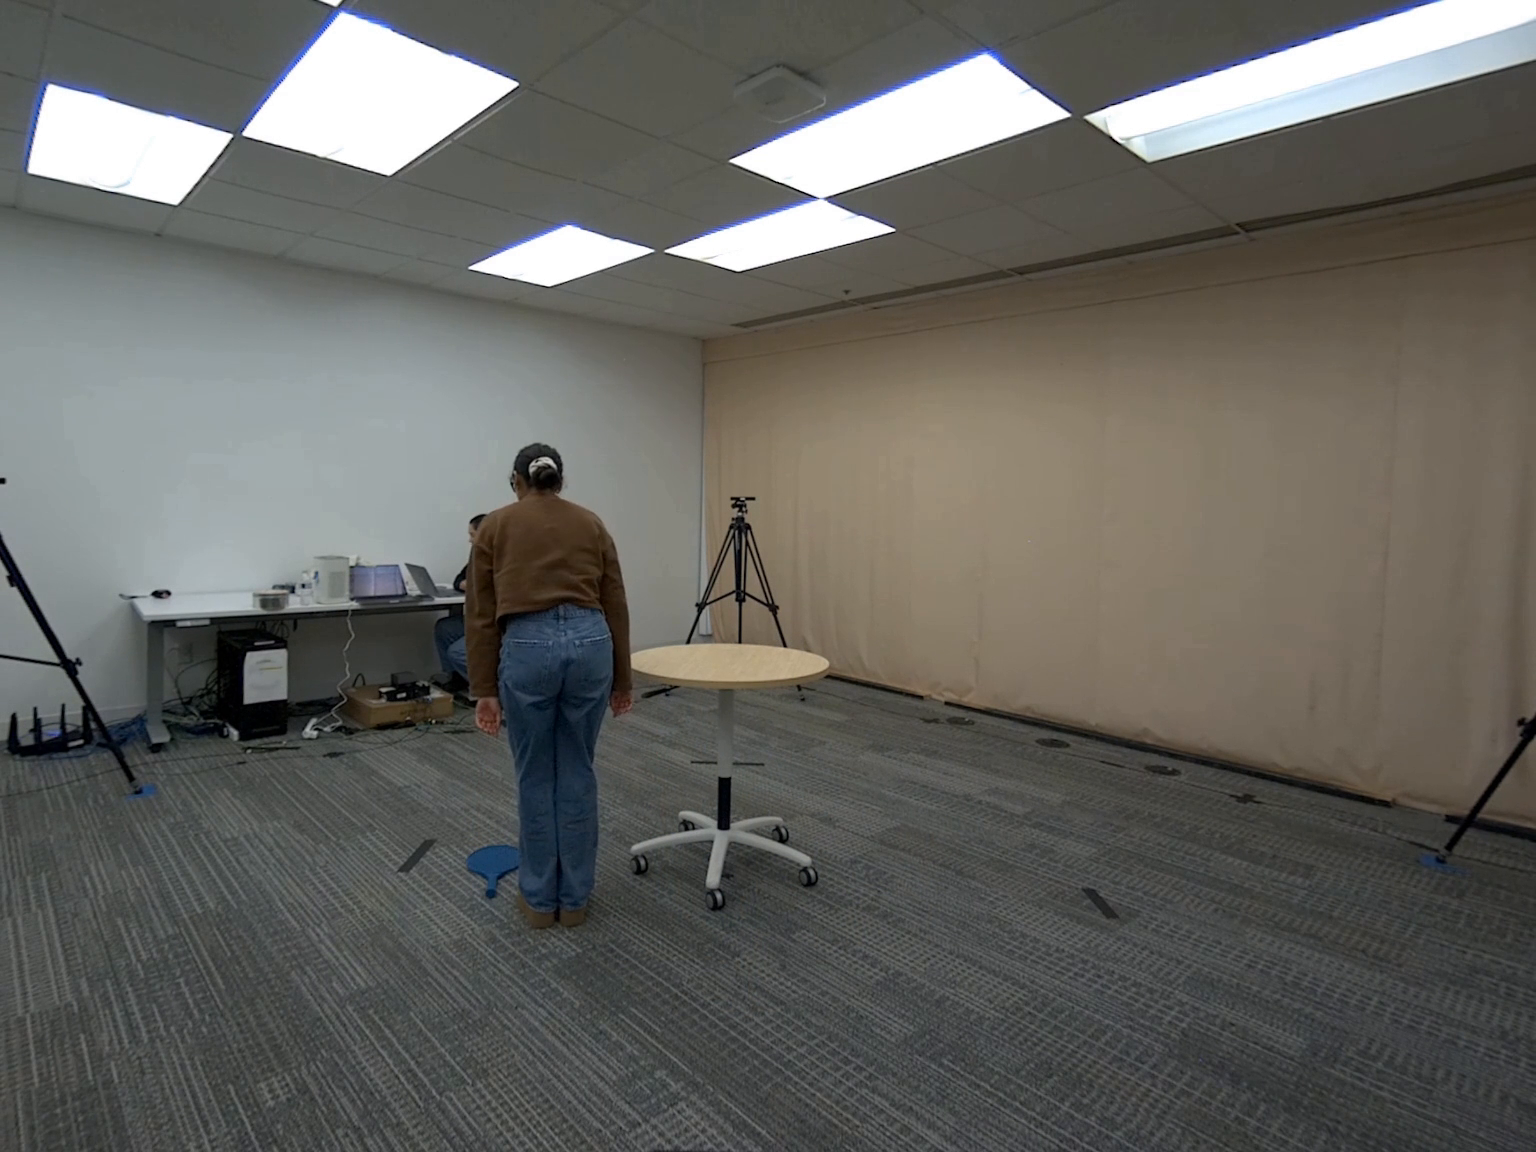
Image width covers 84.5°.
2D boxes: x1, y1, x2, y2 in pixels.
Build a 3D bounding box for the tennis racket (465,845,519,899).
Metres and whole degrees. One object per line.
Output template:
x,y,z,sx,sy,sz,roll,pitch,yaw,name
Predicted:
-1.004,1.070,3.099,0.211,0.032,0.439,0,4,-16,tennis racket
